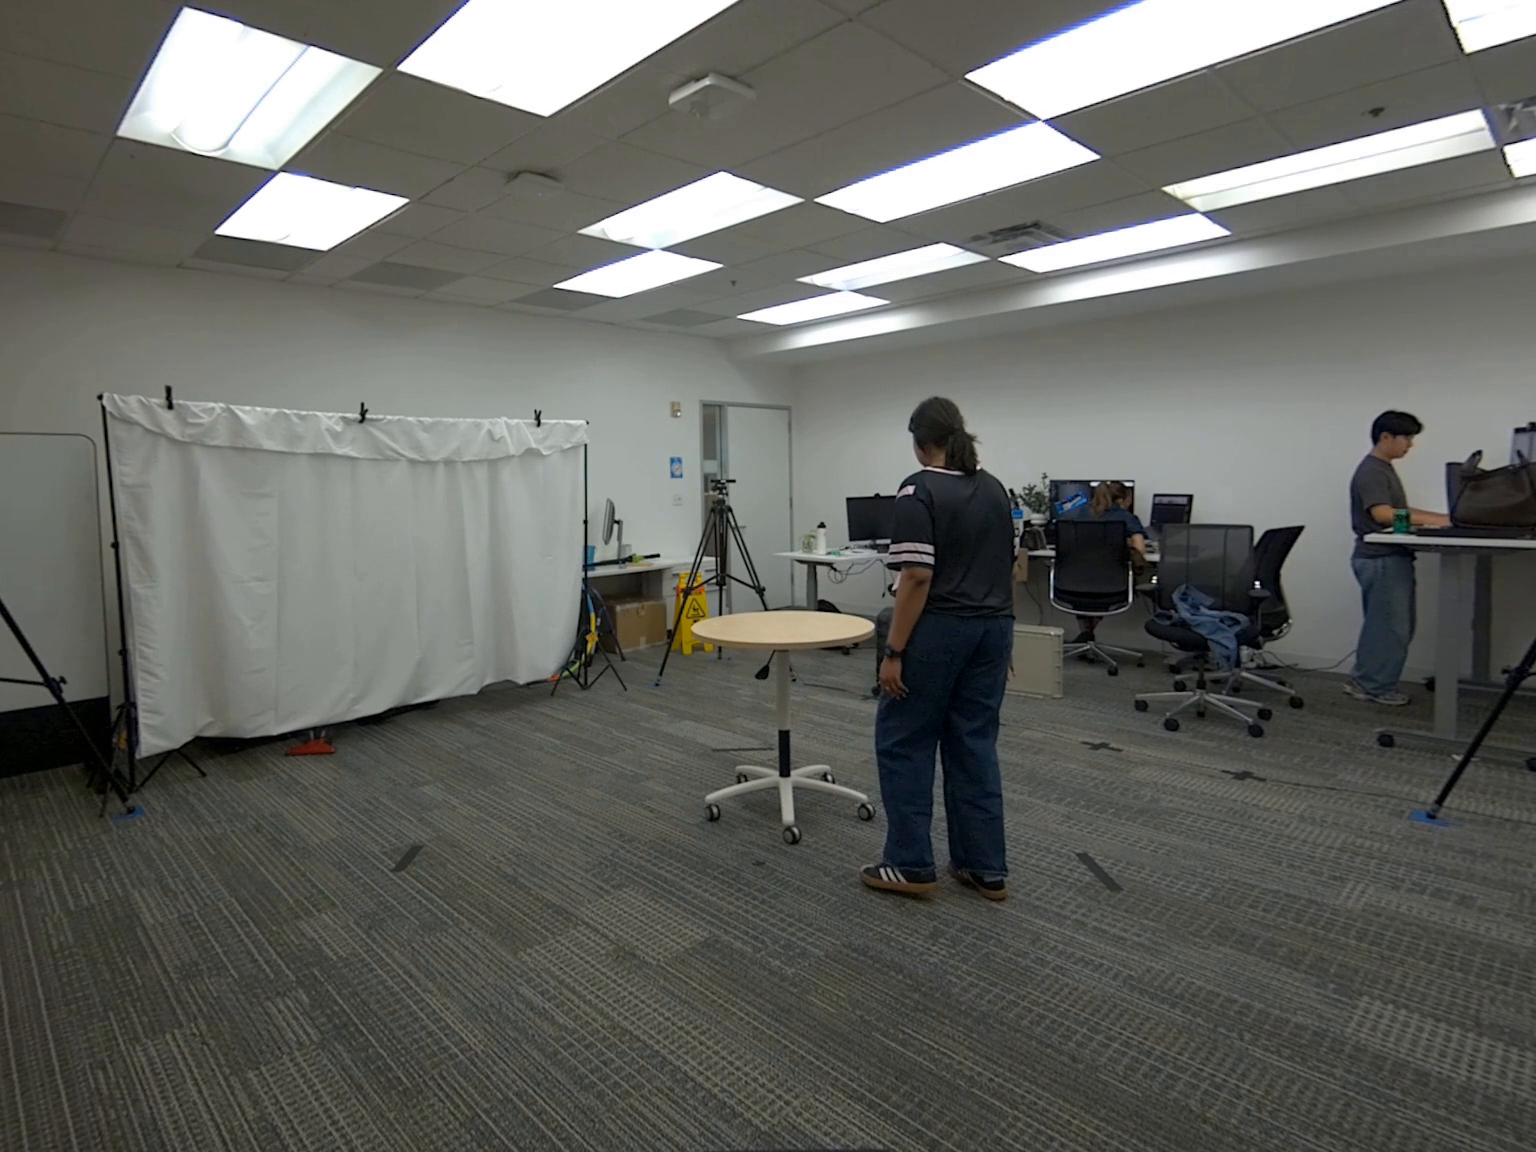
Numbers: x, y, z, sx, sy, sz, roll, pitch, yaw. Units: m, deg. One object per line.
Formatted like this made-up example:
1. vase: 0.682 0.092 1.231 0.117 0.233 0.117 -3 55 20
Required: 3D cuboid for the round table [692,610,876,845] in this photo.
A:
1. round table: 0.075 0.601 3.604 0.763 0.791 0.768 -1 5 -2
